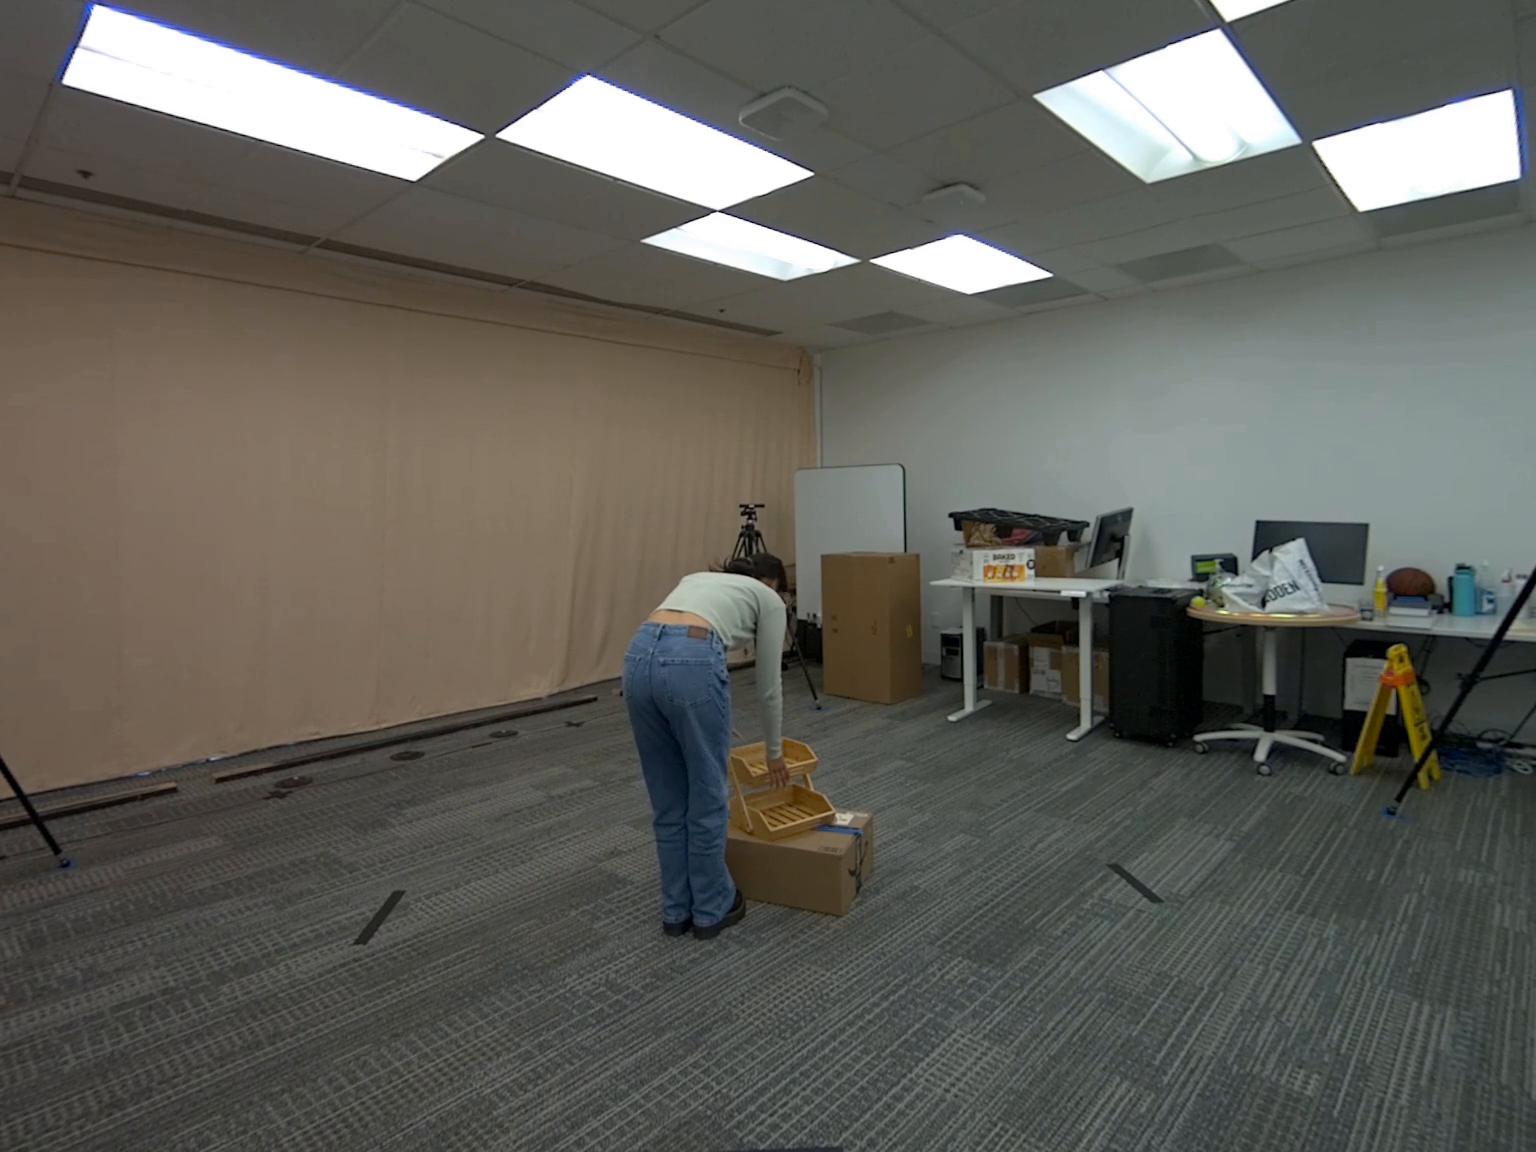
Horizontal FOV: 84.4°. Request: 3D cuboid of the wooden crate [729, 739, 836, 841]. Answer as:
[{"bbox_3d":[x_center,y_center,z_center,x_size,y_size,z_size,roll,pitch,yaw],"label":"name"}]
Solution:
[{"bbox_3d":[0.041,0.779,3.120,0.315,0.273,0.311,-5,4,-35],"label":"wooden crate"}]
